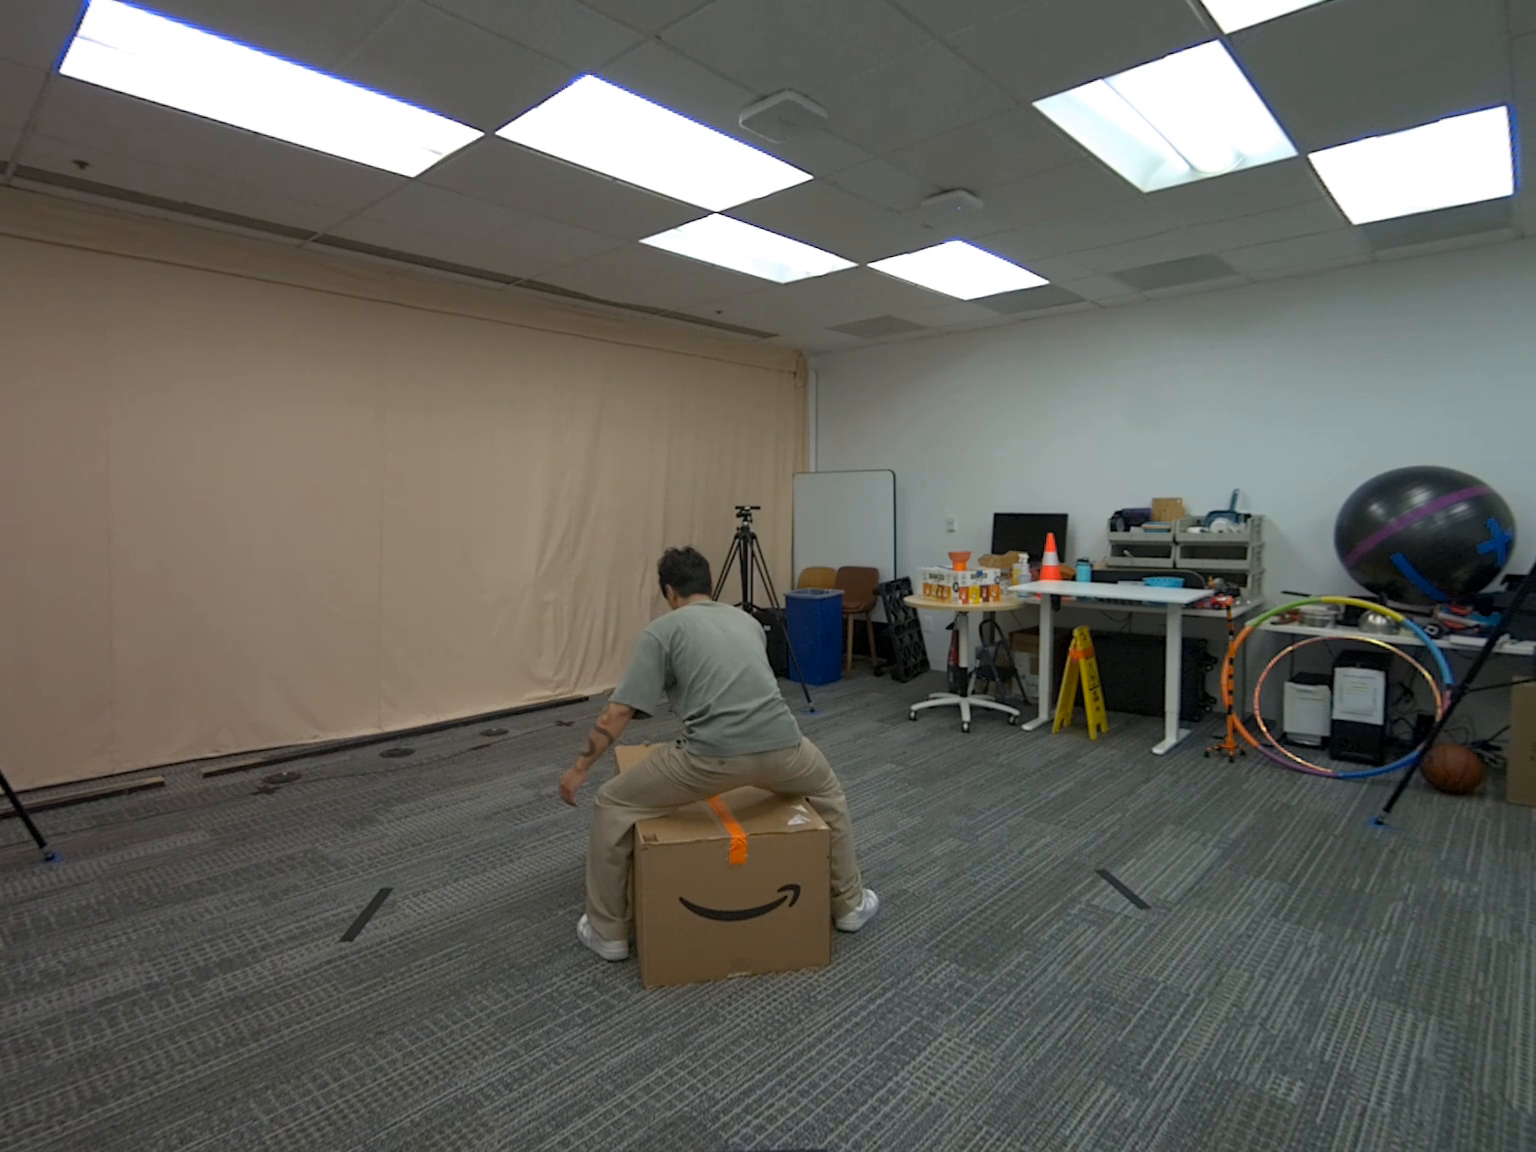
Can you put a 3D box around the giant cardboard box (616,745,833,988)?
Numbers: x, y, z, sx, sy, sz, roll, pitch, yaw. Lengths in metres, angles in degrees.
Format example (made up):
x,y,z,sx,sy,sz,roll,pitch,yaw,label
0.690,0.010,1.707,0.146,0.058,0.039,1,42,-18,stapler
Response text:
x,y,z,sx,sy,sz,roll,pitch,yaw,label
-0.218,0.936,2.975,0.569,0.425,1.043,0,4,-14,giant cardboard box
